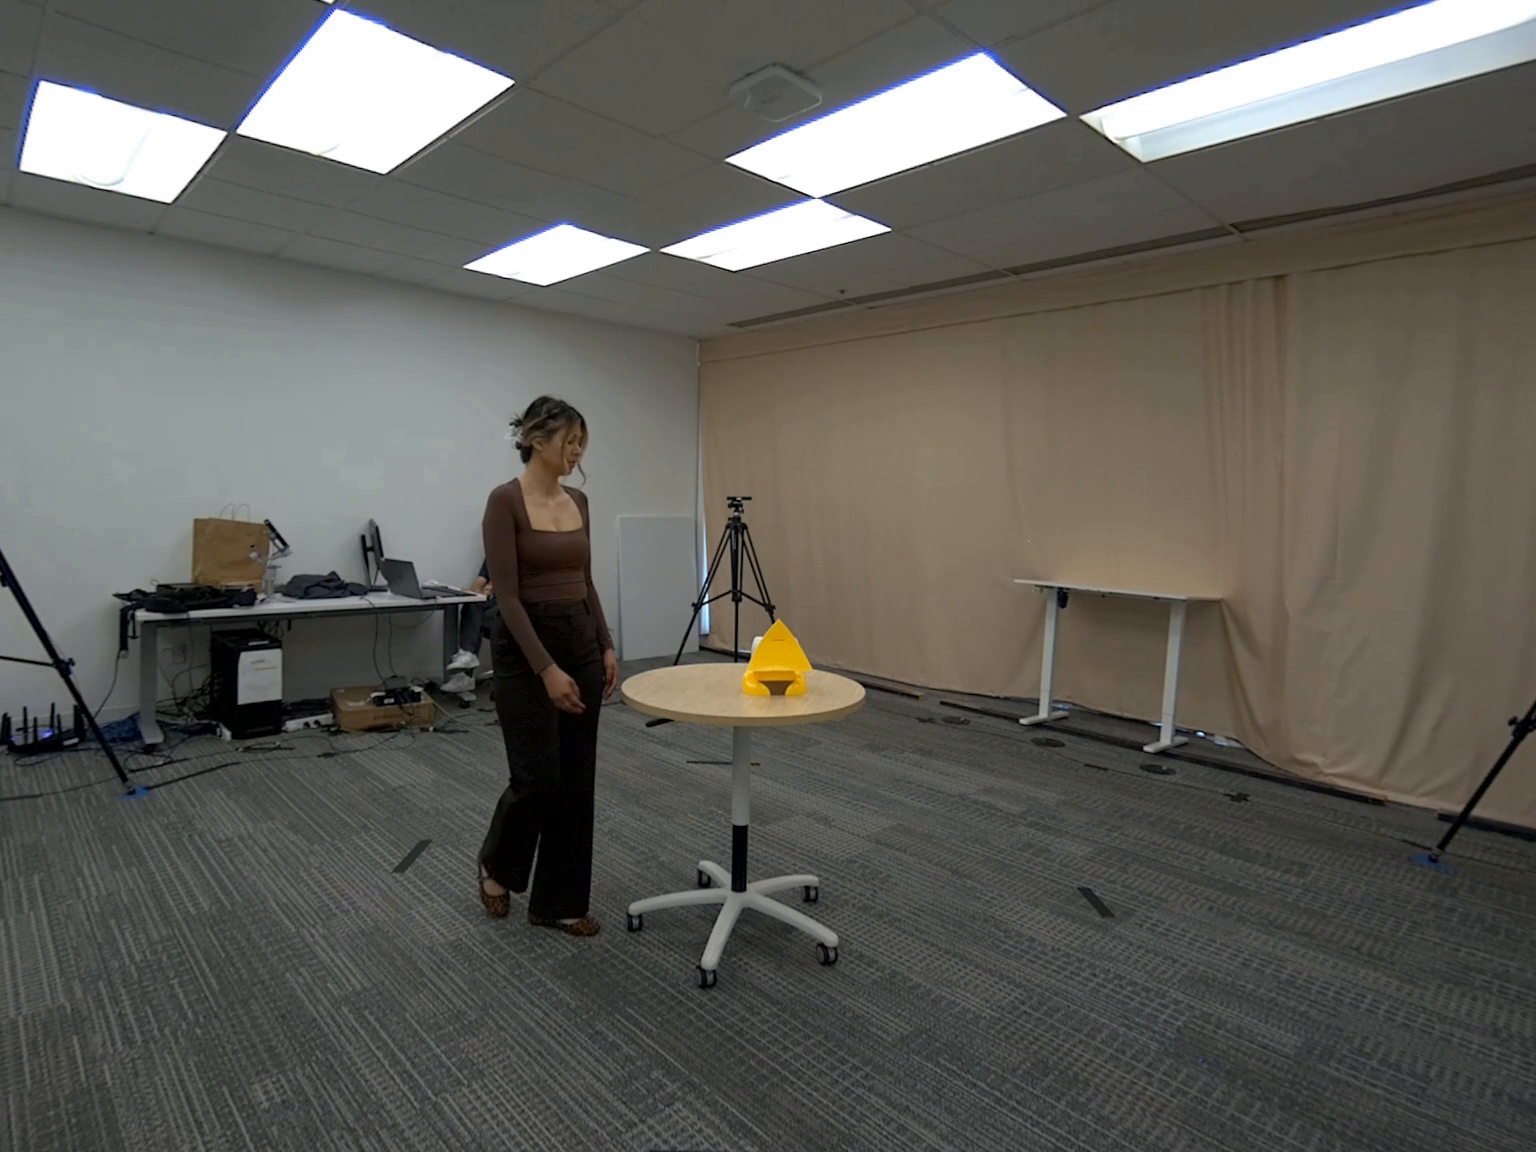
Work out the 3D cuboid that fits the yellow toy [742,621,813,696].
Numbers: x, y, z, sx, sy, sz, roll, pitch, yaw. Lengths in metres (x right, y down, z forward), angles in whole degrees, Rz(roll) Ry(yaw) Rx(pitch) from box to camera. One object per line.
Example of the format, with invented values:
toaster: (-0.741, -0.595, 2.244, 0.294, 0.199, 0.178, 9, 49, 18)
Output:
yellow toy: (0.012, 0.240, 2.603, 0.203, 0.230, 0.195, 0, 4, -8)
